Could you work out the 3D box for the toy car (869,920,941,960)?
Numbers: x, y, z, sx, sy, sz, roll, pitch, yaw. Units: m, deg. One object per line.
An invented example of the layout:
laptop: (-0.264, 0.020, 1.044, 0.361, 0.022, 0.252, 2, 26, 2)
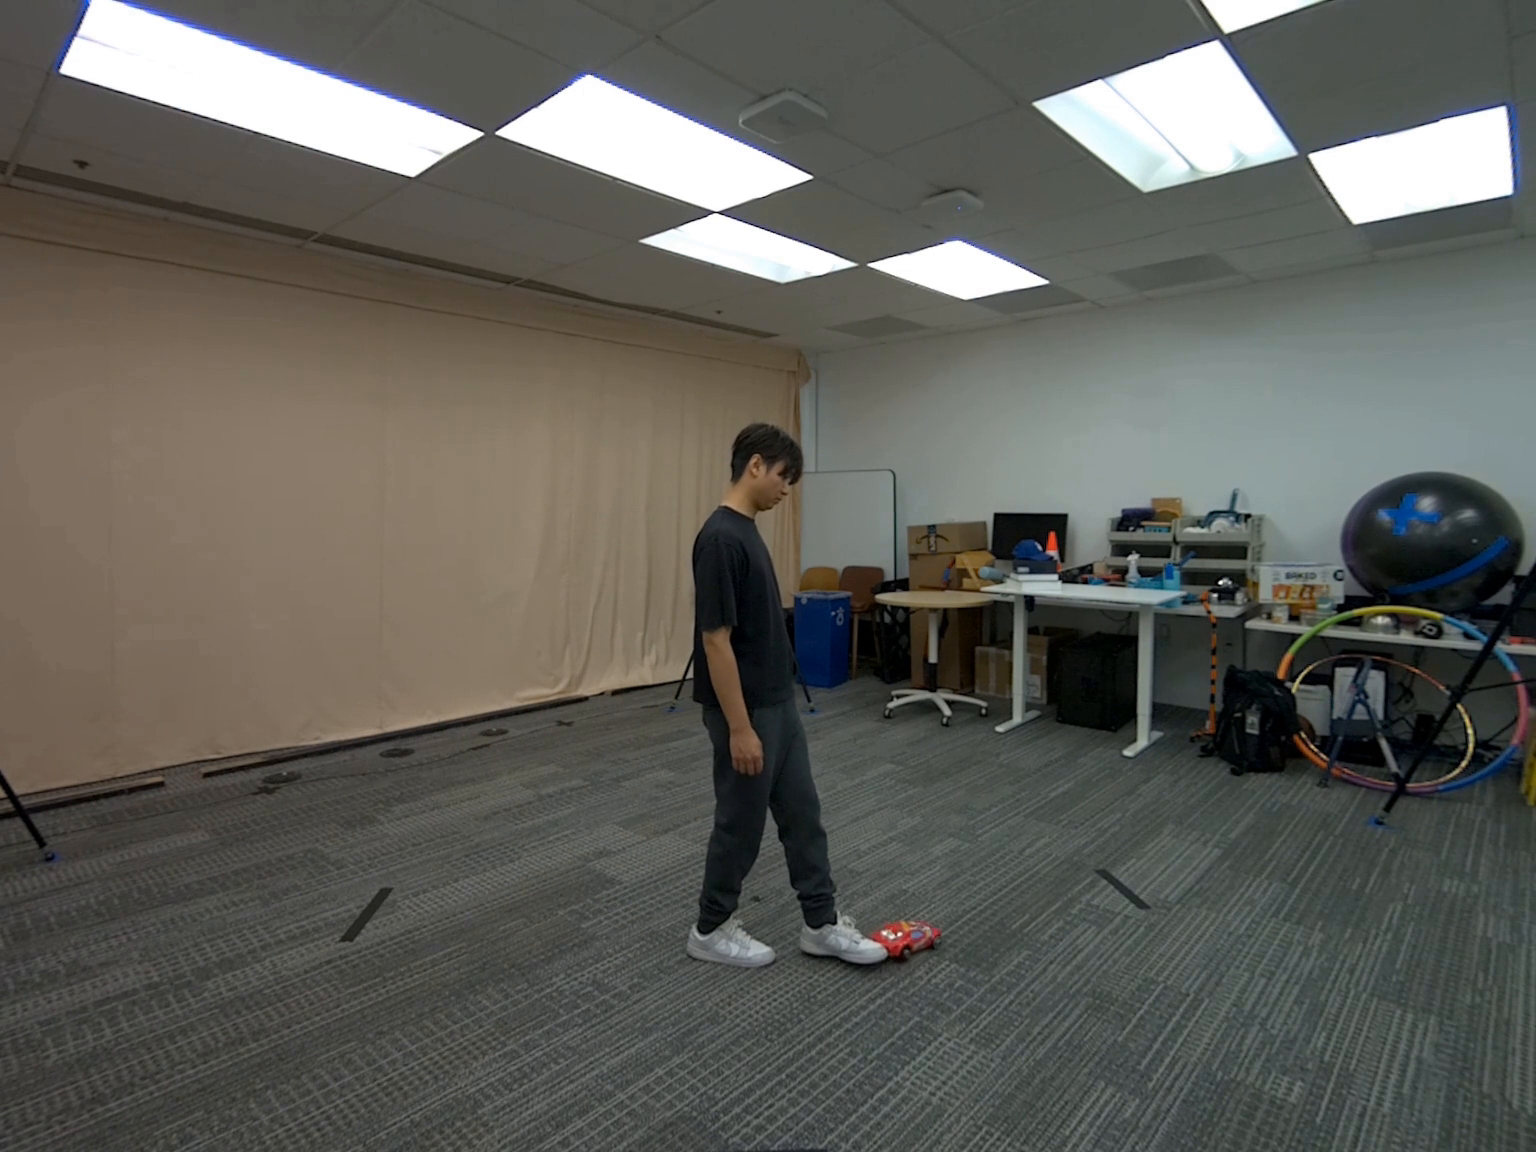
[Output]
toy car: (0.435, 1.136, 2.630, 0.246, 0.083, 0.134, 15, -5, -36)
